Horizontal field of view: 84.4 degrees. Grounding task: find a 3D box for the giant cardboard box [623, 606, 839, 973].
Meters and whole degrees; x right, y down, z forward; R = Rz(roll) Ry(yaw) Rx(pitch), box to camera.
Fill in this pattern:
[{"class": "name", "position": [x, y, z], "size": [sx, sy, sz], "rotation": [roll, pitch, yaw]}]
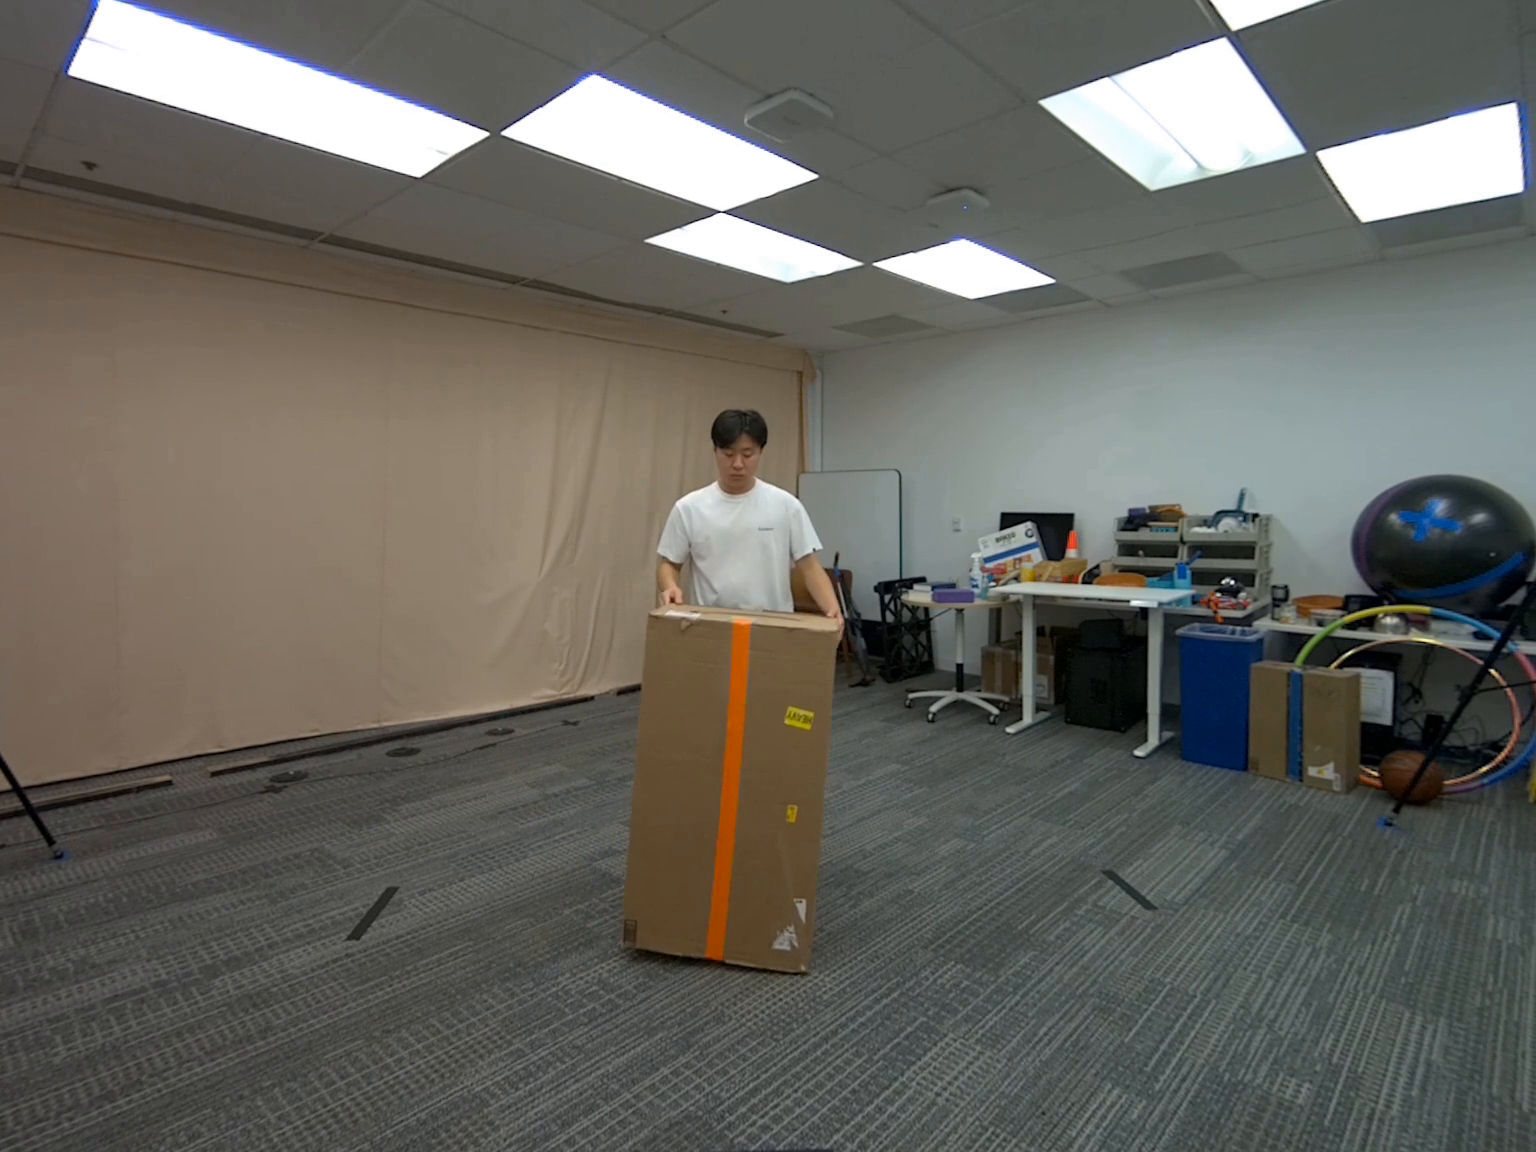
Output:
[{"class": "giant cardboard box", "position": [-0.100, 0.638, 2.715], "size": [0.582, 1.025, 0.423], "rotation": [5, 1, 6]}]
